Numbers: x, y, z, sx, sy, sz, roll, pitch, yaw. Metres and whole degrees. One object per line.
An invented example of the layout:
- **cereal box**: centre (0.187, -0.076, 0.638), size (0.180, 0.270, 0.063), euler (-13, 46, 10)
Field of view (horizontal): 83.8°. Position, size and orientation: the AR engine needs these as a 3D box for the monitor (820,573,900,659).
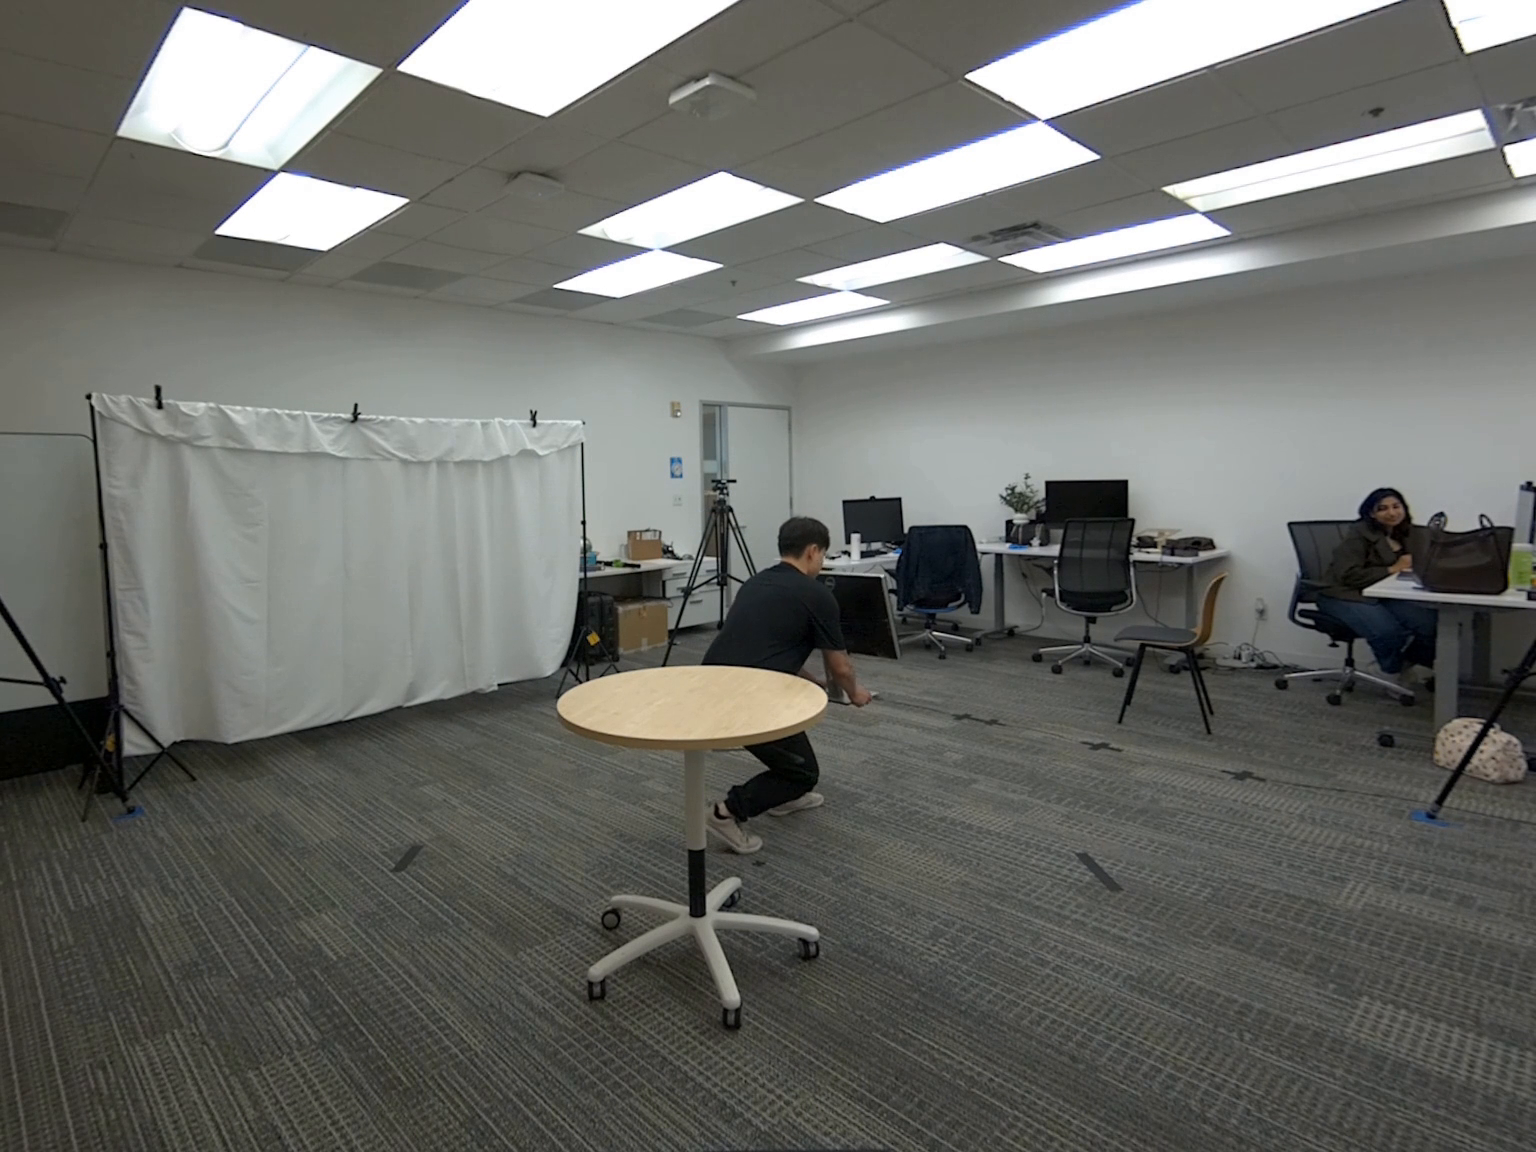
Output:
- **monitor**: centre (0.297, 0.252, 3.665), size (0.182, 0.520, 0.555), euler (-7, 6, -42)
